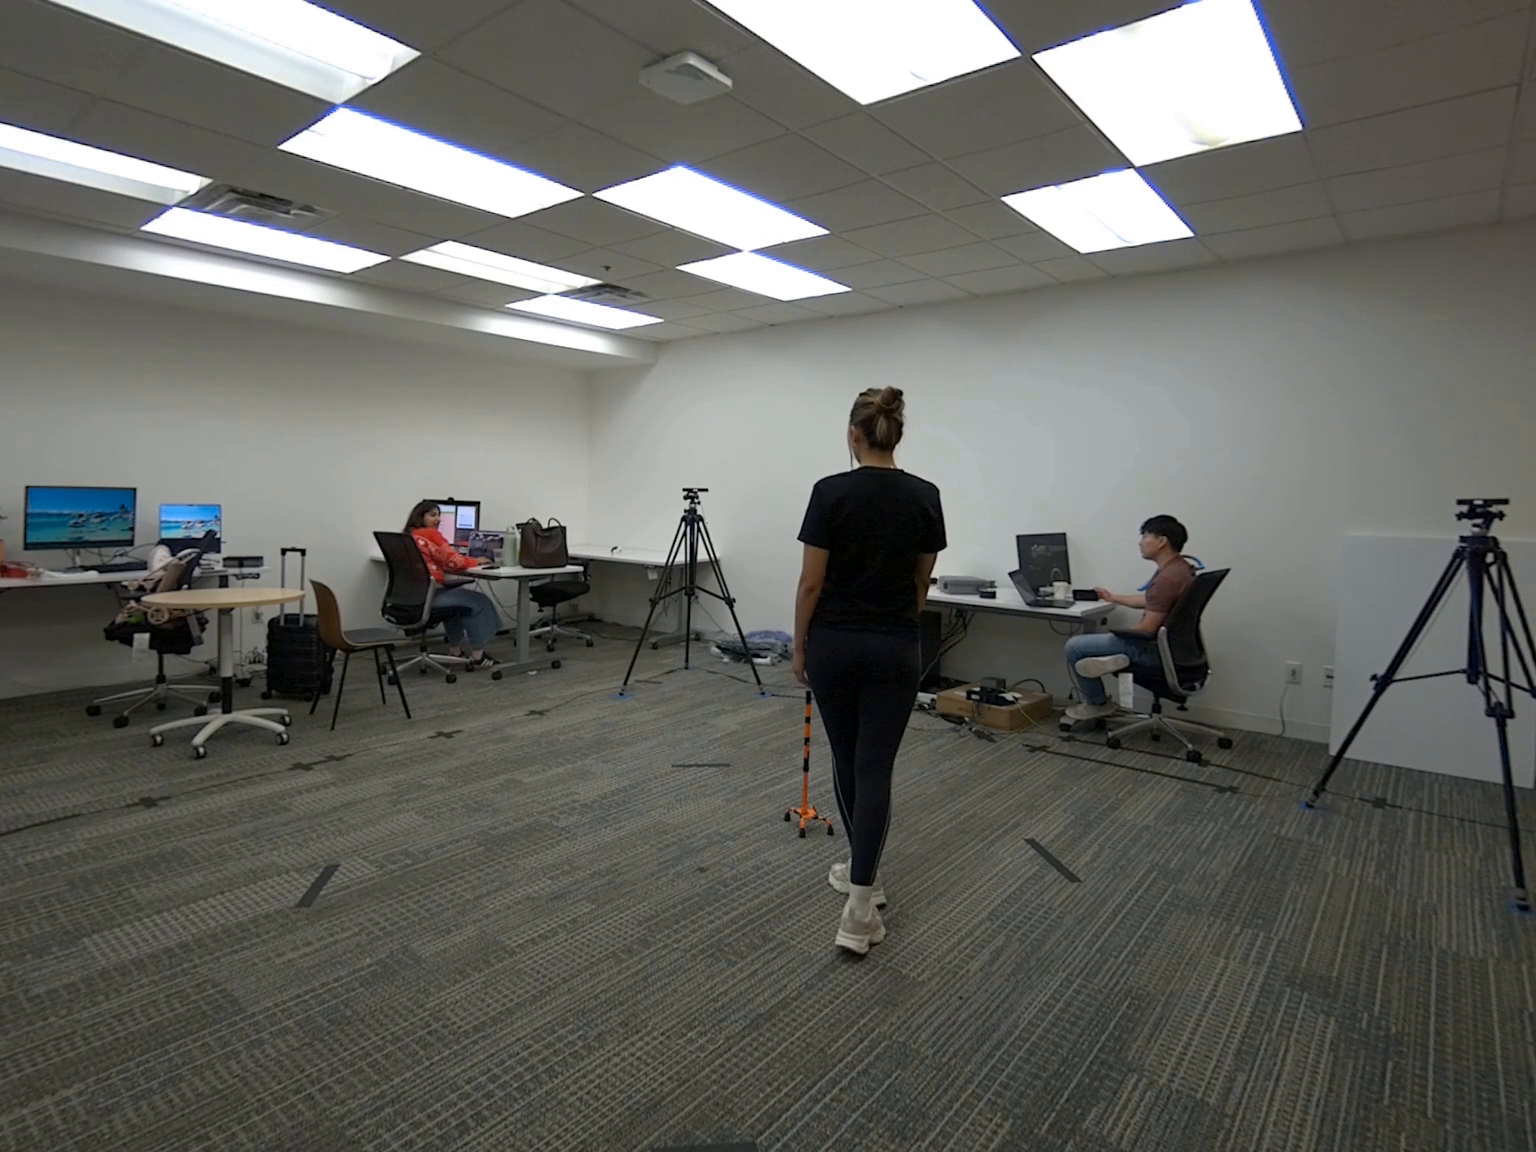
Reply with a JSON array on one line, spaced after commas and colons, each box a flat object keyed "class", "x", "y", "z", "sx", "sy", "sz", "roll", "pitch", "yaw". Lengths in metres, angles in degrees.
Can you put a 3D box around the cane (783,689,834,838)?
[{"class": "cane", "x": 0.169, "y": 0.587, "z": 3.506, "sx": 0.149, "sy": 0.906, "sz": 0.211, "roll": 0, "pitch": 3, "yaw": -19}]
